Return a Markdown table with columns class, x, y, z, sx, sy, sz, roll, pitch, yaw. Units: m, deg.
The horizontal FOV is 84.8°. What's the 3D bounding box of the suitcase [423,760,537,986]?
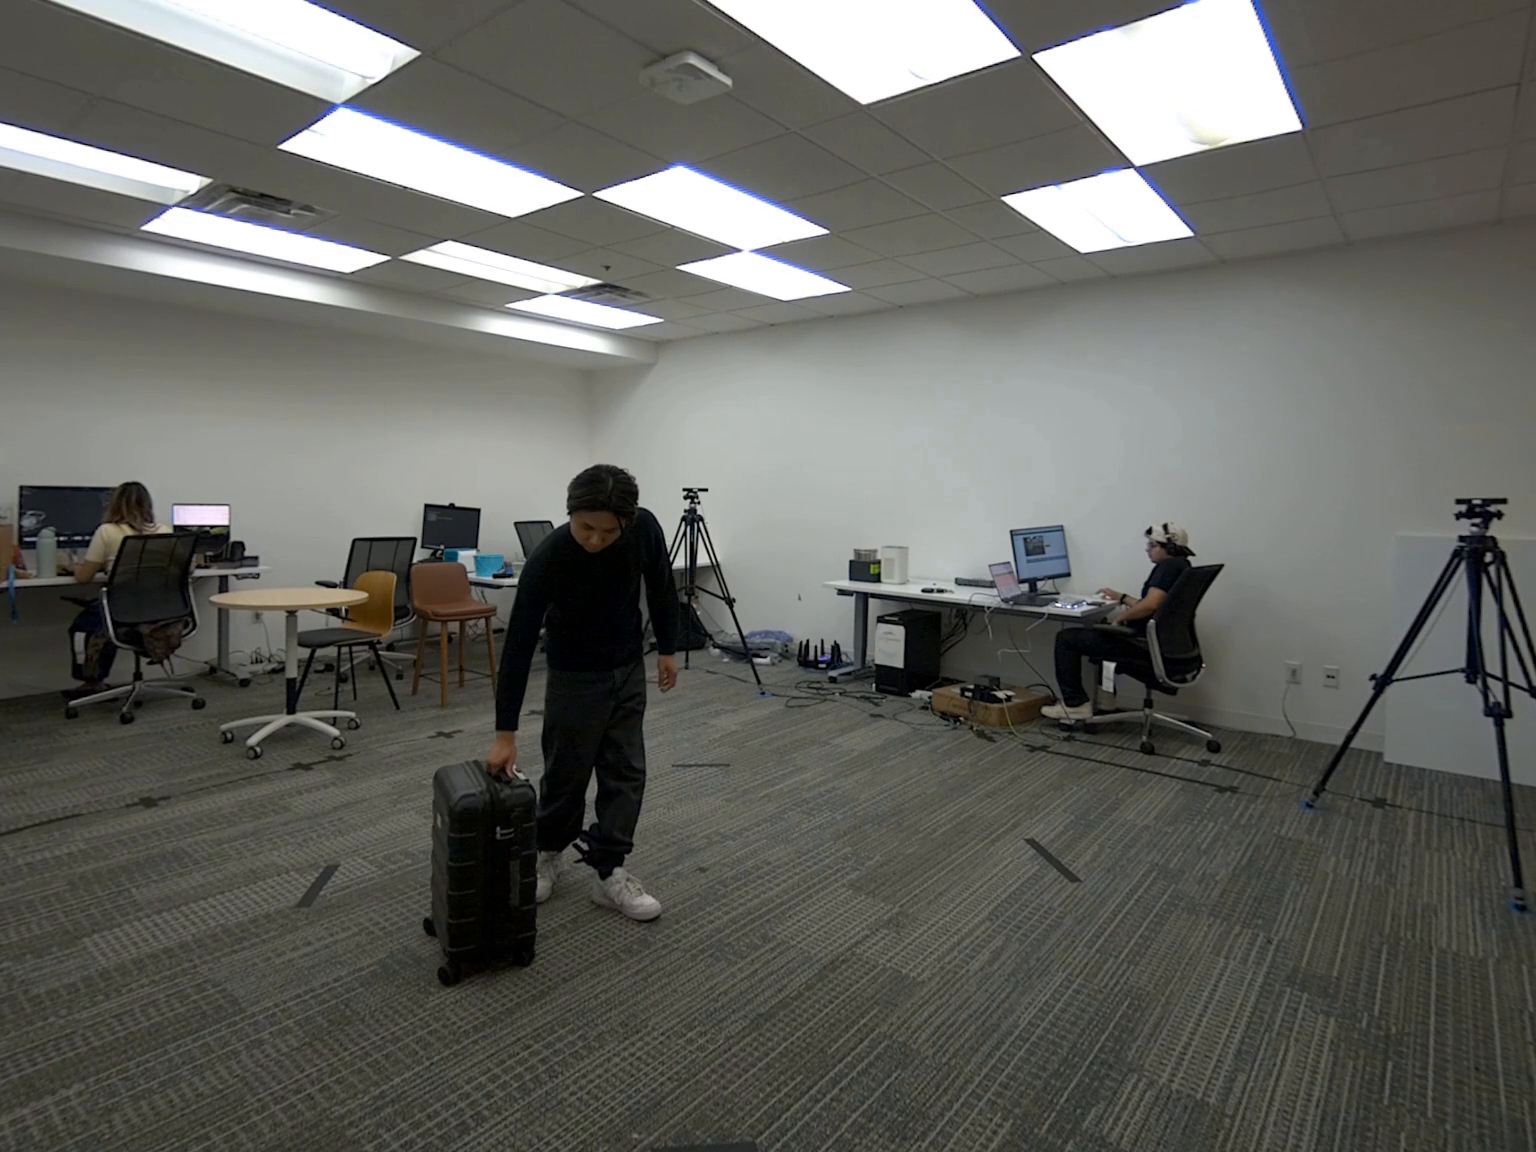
| class | x | y | z | sx | sy | sz | roll | pitch | yaw |
| --- | --- | --- | --- | --- | --- | --- | --- | --- | --- |
| suitcase | -0.859 | 0.840 | 2.526 | 0.242 | 0.547 | 0.387 | 0 | 5 | -29 |
